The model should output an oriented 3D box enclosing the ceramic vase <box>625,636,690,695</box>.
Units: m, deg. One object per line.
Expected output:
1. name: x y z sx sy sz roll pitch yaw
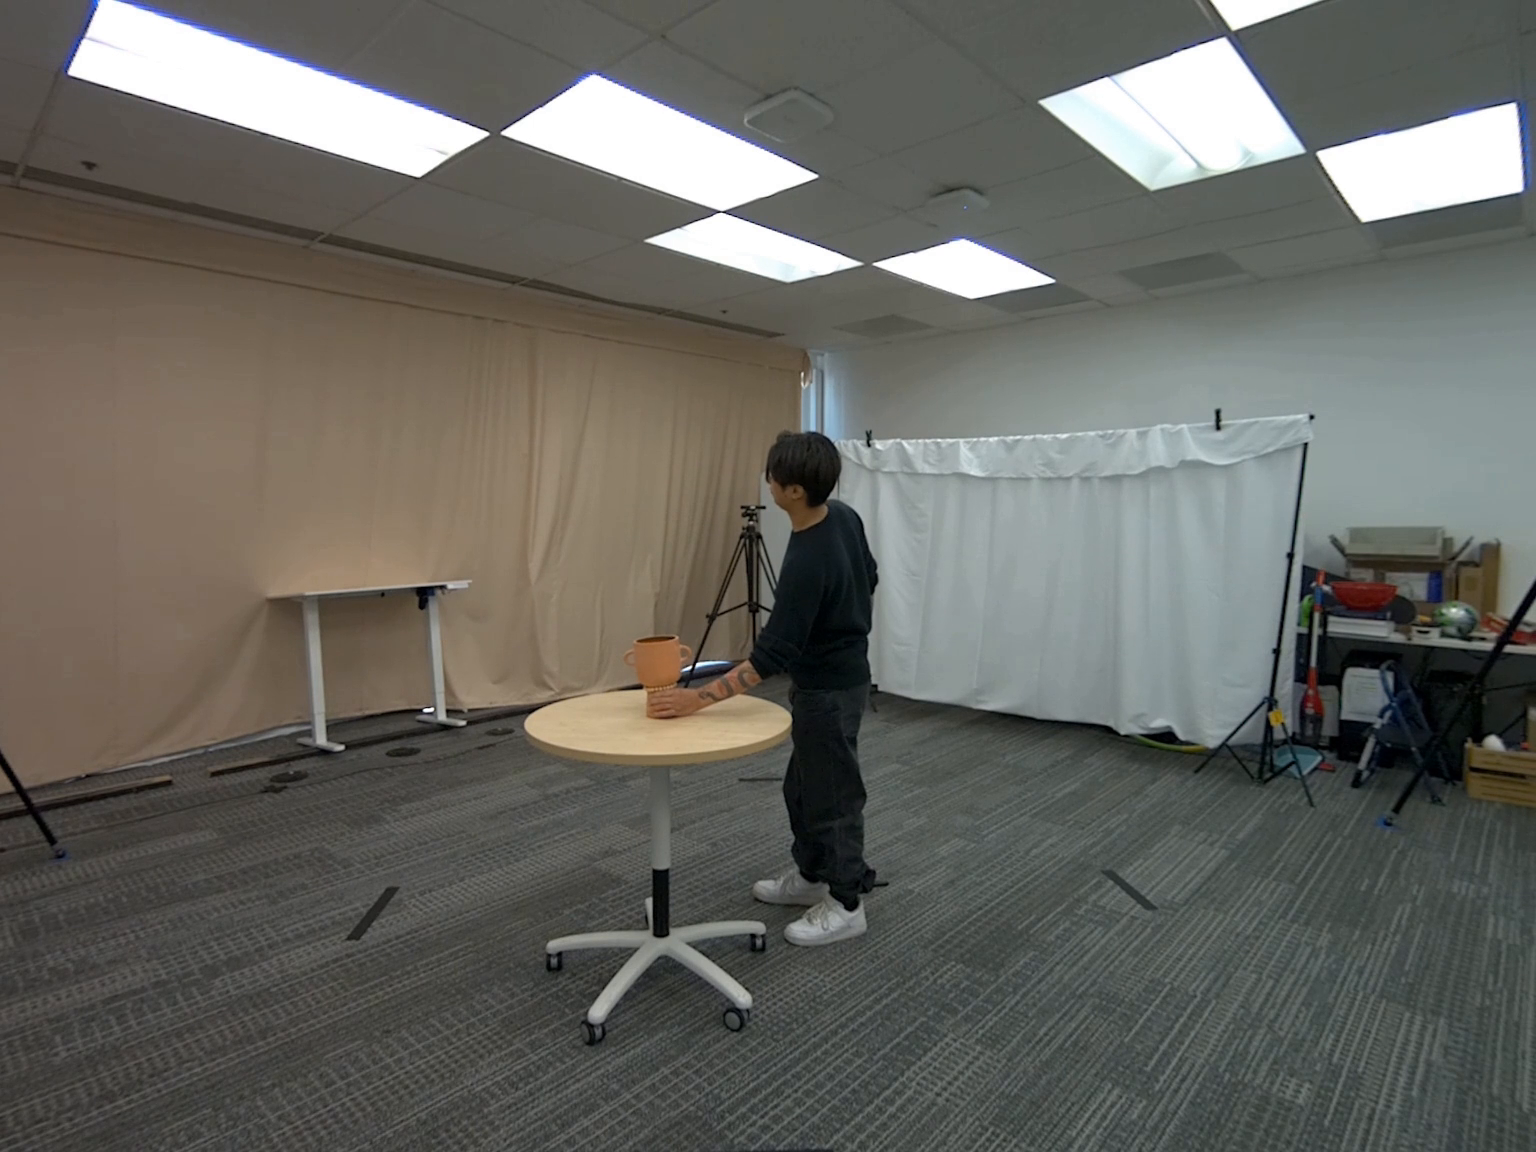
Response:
1. ceramic vase: -0.307 0.294 2.451 0.164 0.219 0.131 0 6 35
